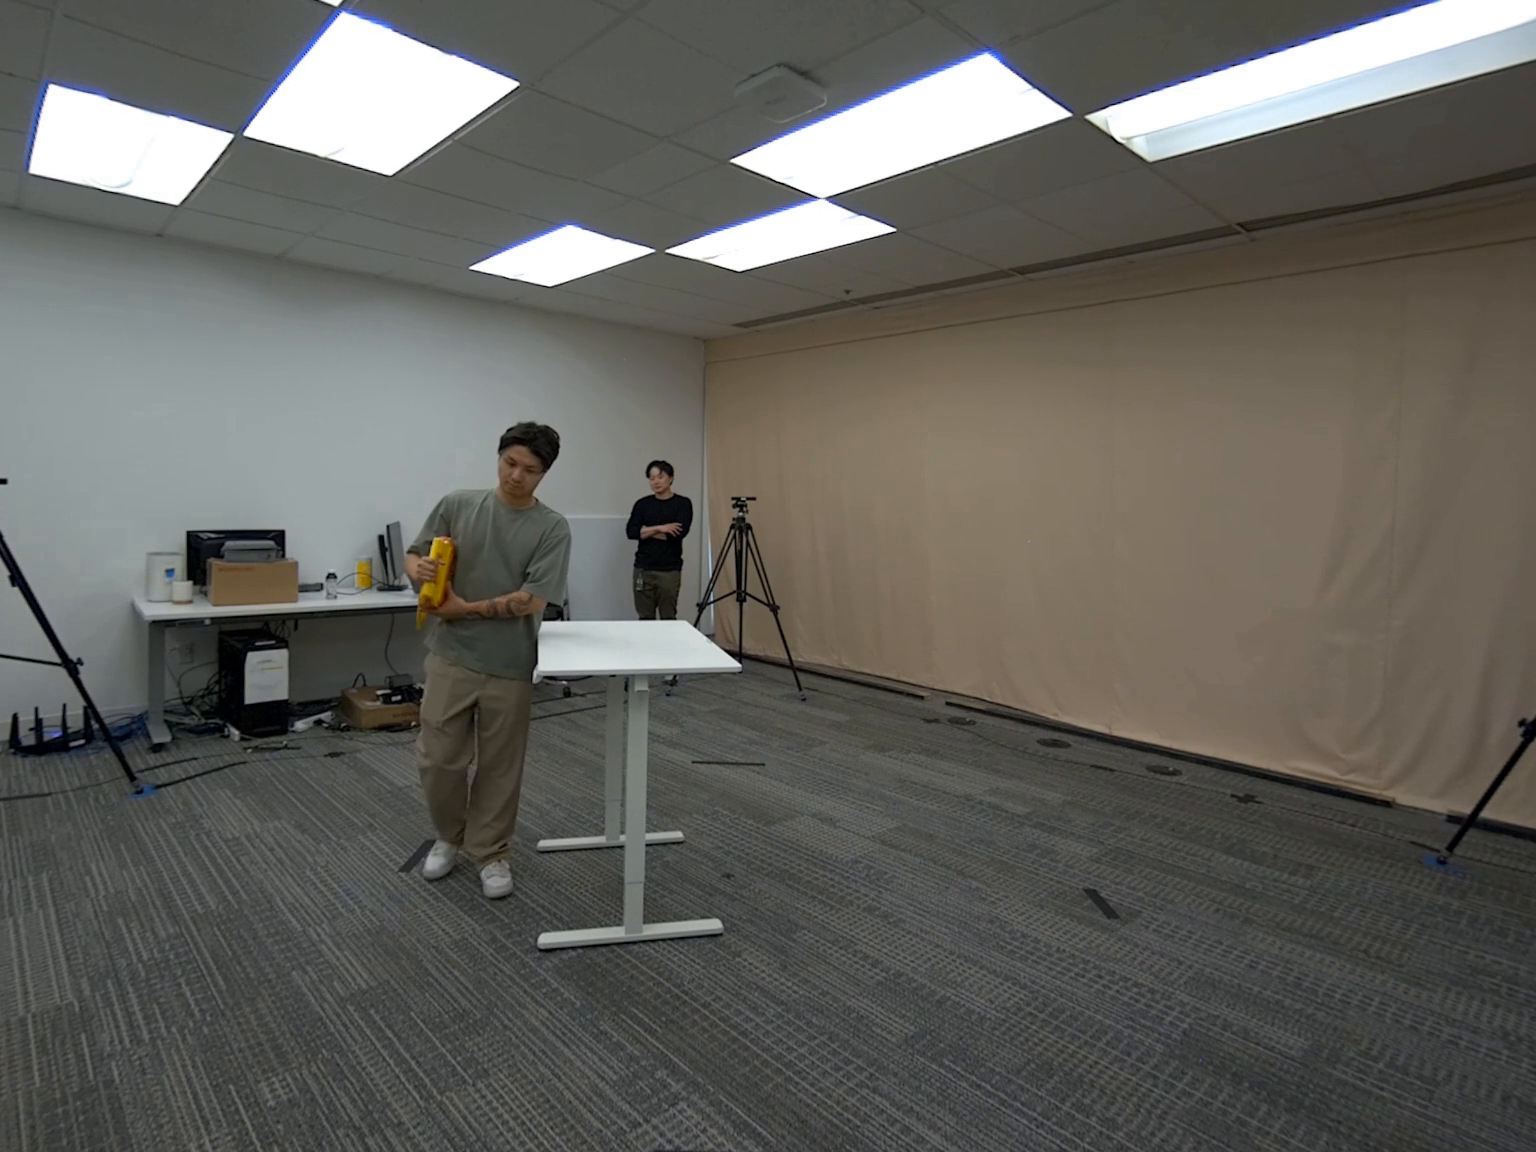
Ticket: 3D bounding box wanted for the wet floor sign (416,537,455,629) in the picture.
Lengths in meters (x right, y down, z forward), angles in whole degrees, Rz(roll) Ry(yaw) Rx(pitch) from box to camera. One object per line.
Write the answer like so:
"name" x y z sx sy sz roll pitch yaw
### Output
"wet floor sign" -1.192 0.041 3.048 0.286 0.285 0.649 9 -13 -16
